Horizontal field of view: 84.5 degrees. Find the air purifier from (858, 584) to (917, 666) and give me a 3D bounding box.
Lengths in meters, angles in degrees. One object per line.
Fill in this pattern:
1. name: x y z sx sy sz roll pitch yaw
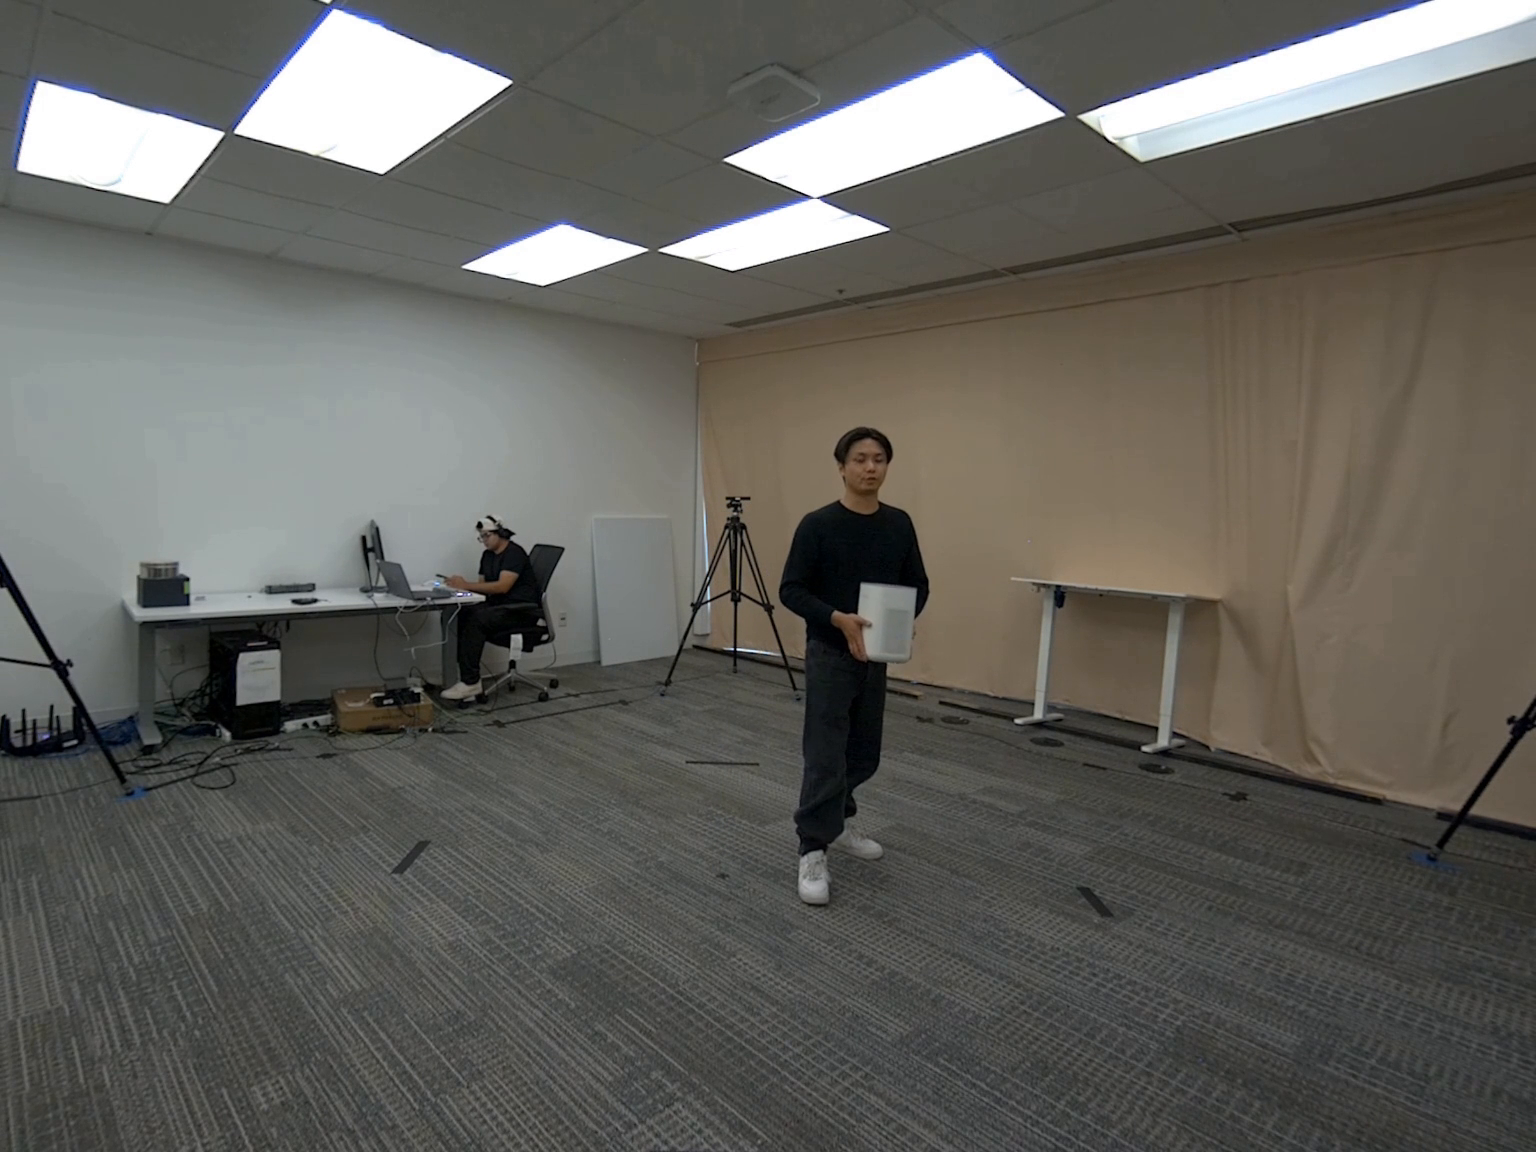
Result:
1. air purifier: 0.393 0.161 2.943 0.169 0.265 0.173 5 -1 -18
